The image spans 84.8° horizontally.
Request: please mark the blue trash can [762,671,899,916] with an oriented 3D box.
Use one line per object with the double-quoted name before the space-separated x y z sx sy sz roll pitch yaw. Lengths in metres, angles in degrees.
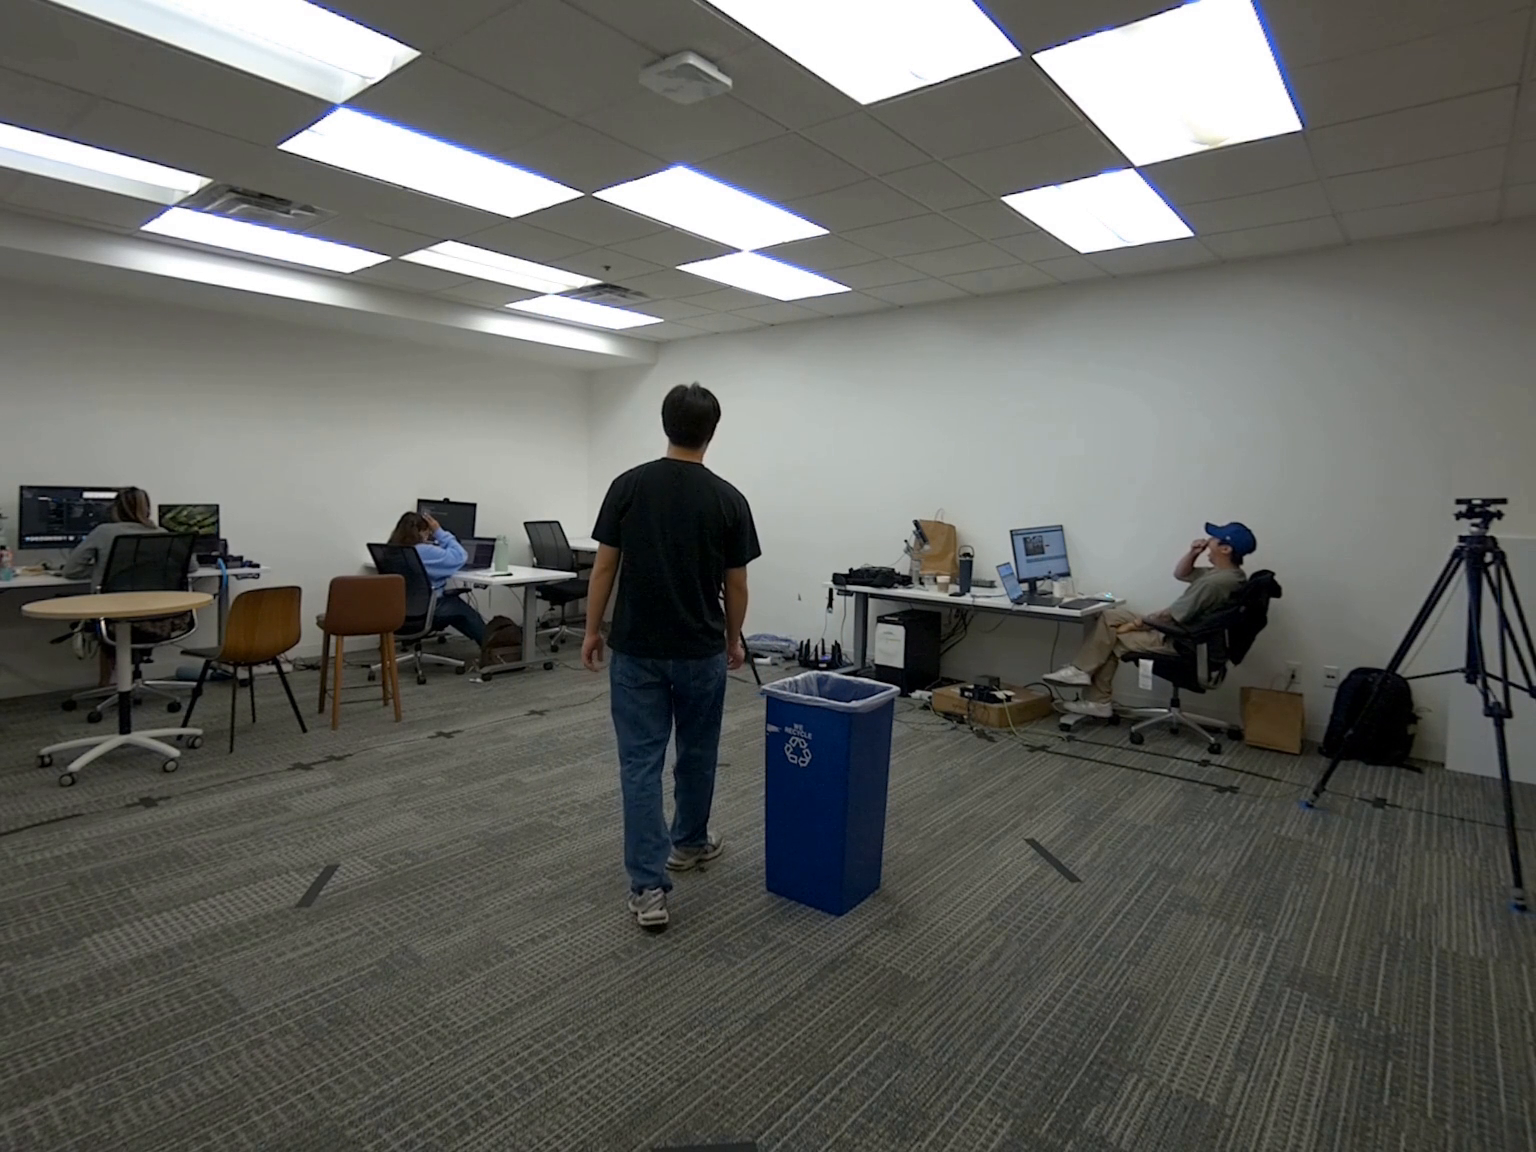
"blue trash can" 0.207 0.737 2.963 0.386 0.711 0.367 3 4 35
